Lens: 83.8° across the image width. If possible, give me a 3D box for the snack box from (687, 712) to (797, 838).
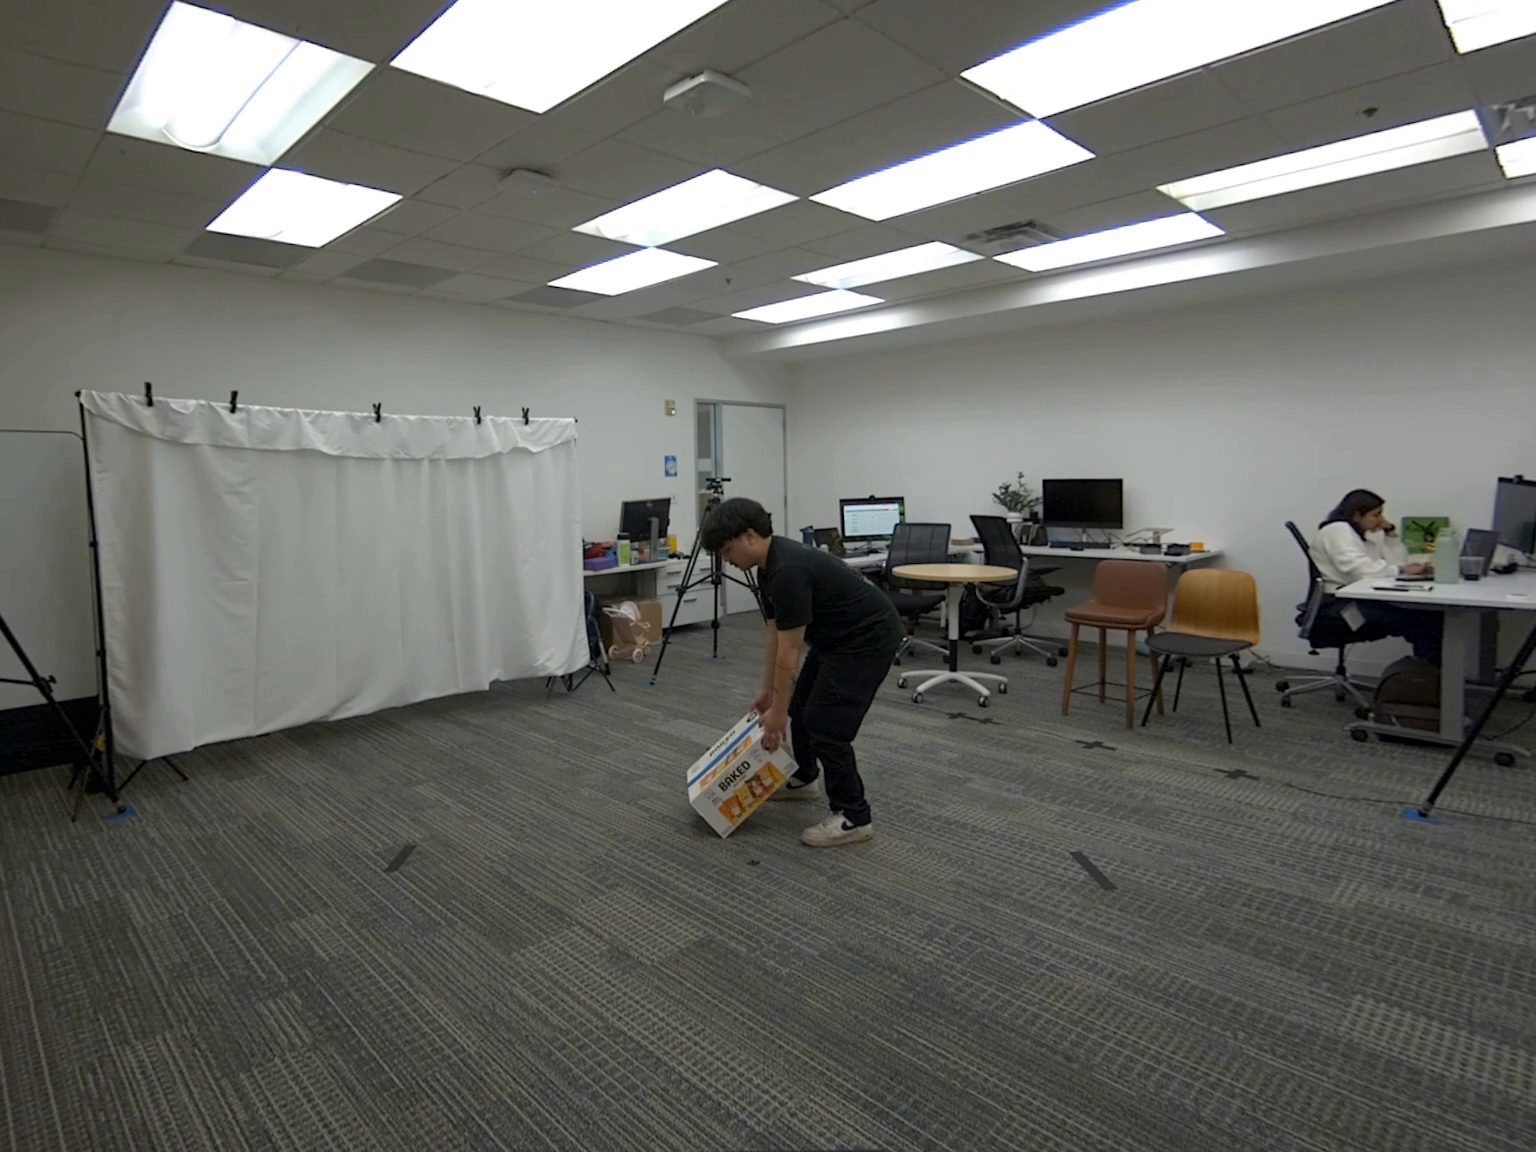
[{"bbox_3d":[-0.112,0.791,3.481,0.405,0.203,0.344,-43,11,0],"label":"snack box"}]
